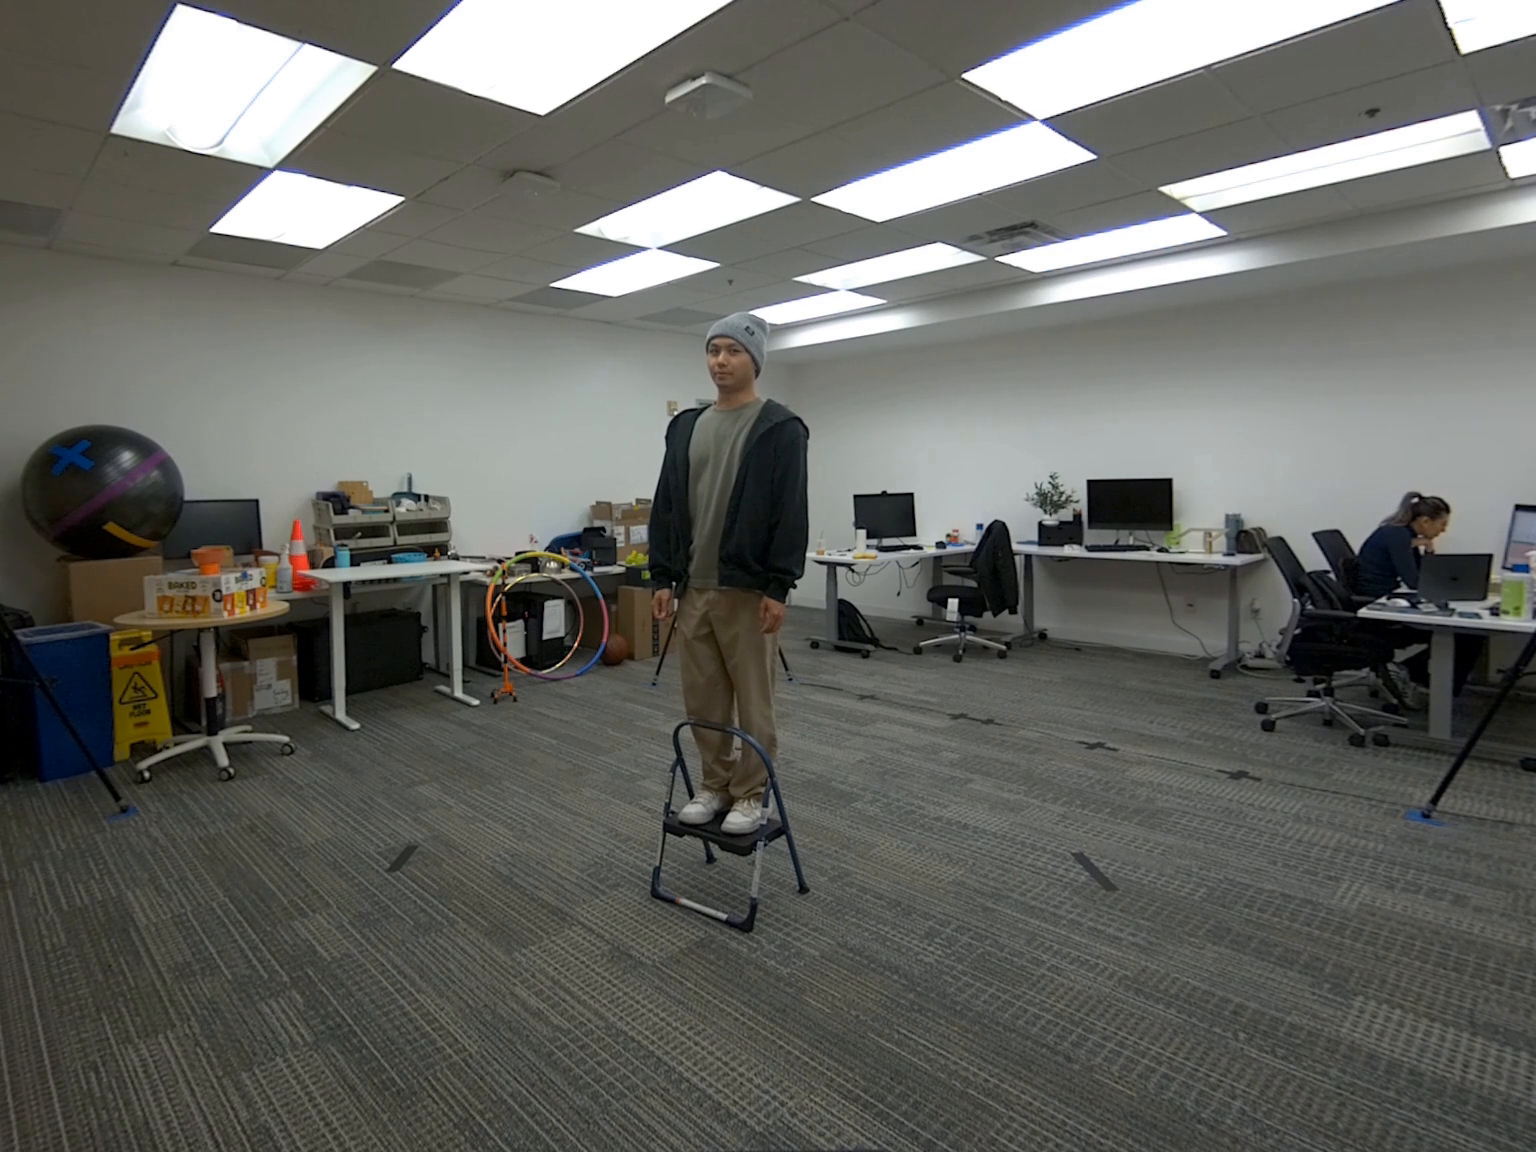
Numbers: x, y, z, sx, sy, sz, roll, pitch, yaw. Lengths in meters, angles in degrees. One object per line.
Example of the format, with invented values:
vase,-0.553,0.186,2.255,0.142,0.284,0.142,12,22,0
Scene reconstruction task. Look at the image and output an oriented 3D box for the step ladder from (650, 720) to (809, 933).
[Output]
step ladder,-0.137,0.772,2.866,0.443,0.603,0.341,2,6,35
